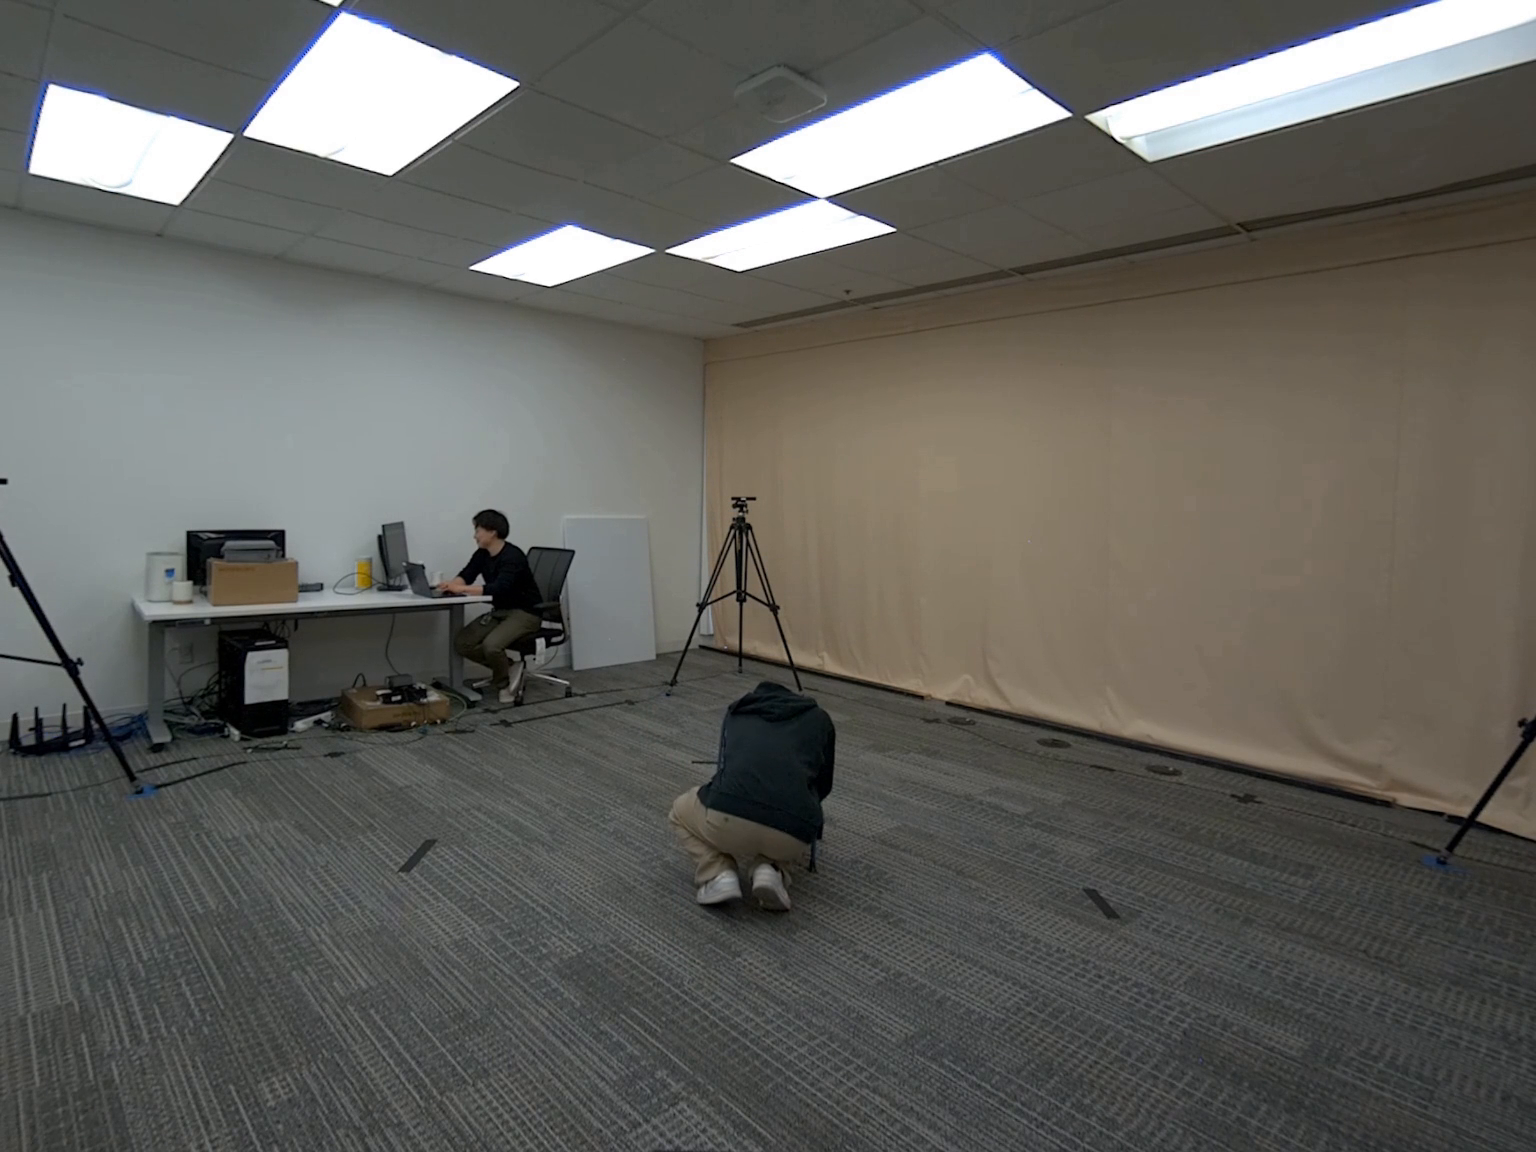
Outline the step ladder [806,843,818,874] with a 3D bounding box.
[{"bbox_3d":[0.002,0.795,3.352,0.435,0.604,0.347,2,4,11],"label":"step ladder"}]
